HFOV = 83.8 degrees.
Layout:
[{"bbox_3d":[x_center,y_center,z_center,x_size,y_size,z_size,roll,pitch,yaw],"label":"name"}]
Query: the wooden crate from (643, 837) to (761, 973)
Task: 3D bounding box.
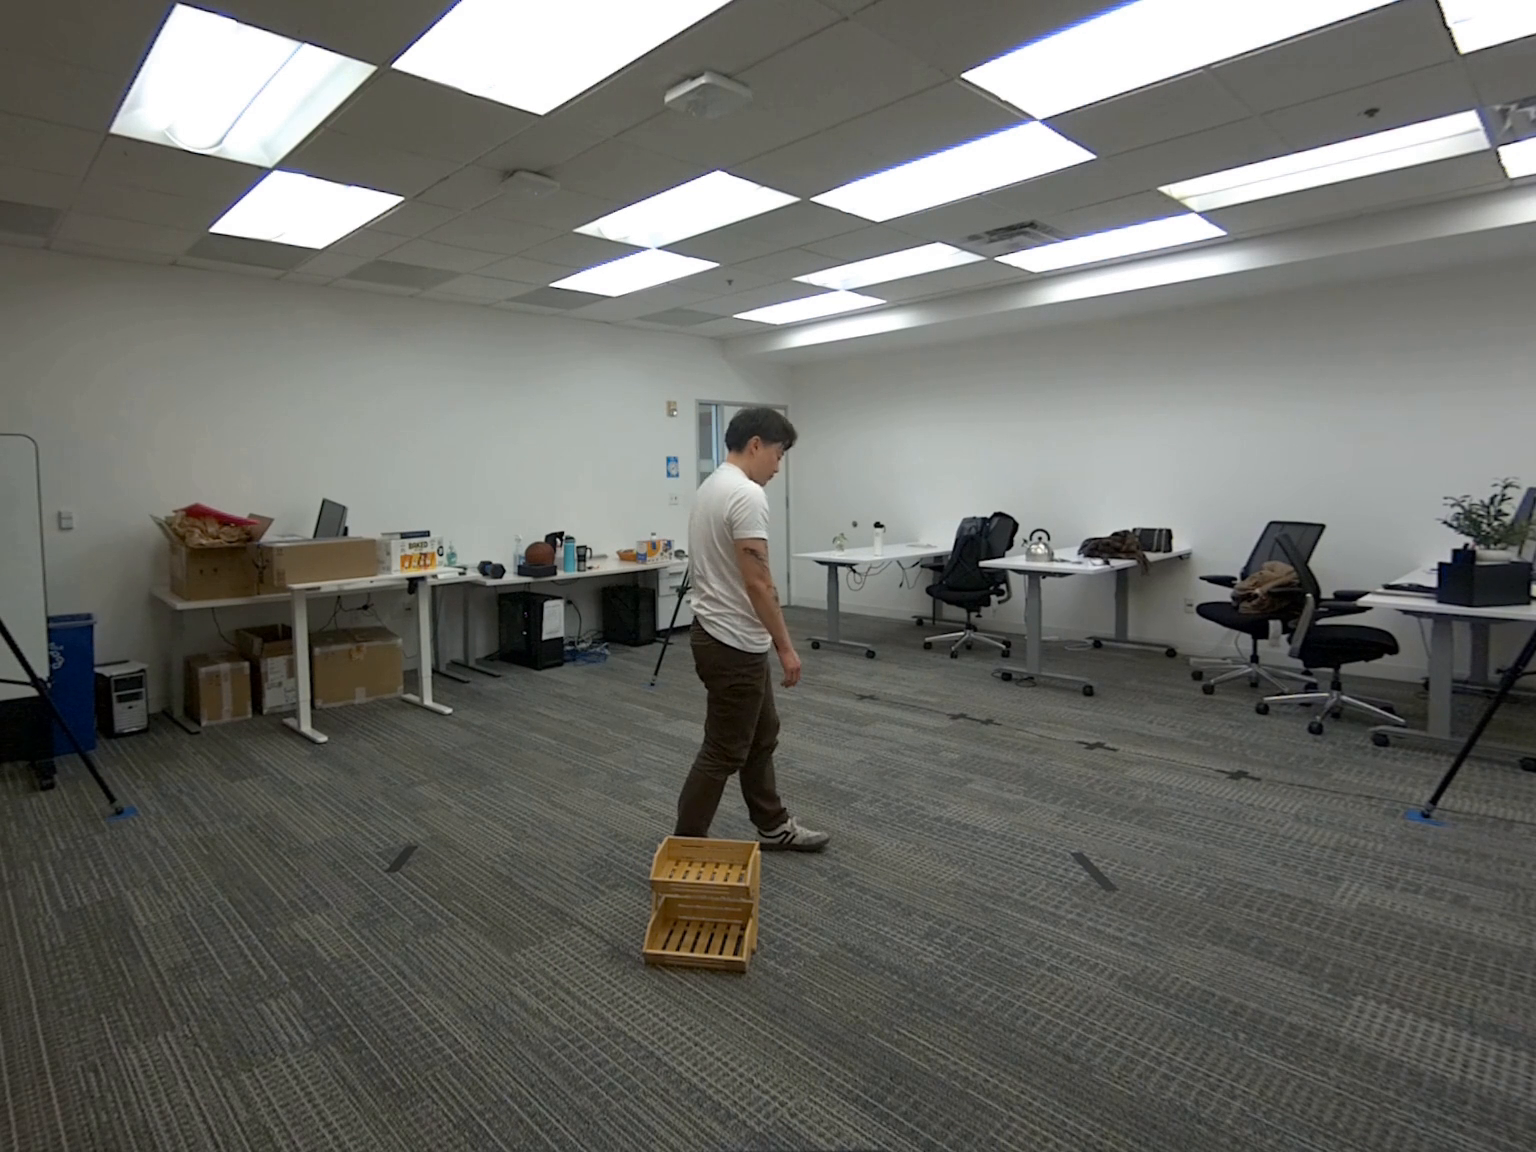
[{"bbox_3d":[-0.195,0.981,2.563,0.328,0.272,0.300,0,4,9],"label":"wooden crate"}]
